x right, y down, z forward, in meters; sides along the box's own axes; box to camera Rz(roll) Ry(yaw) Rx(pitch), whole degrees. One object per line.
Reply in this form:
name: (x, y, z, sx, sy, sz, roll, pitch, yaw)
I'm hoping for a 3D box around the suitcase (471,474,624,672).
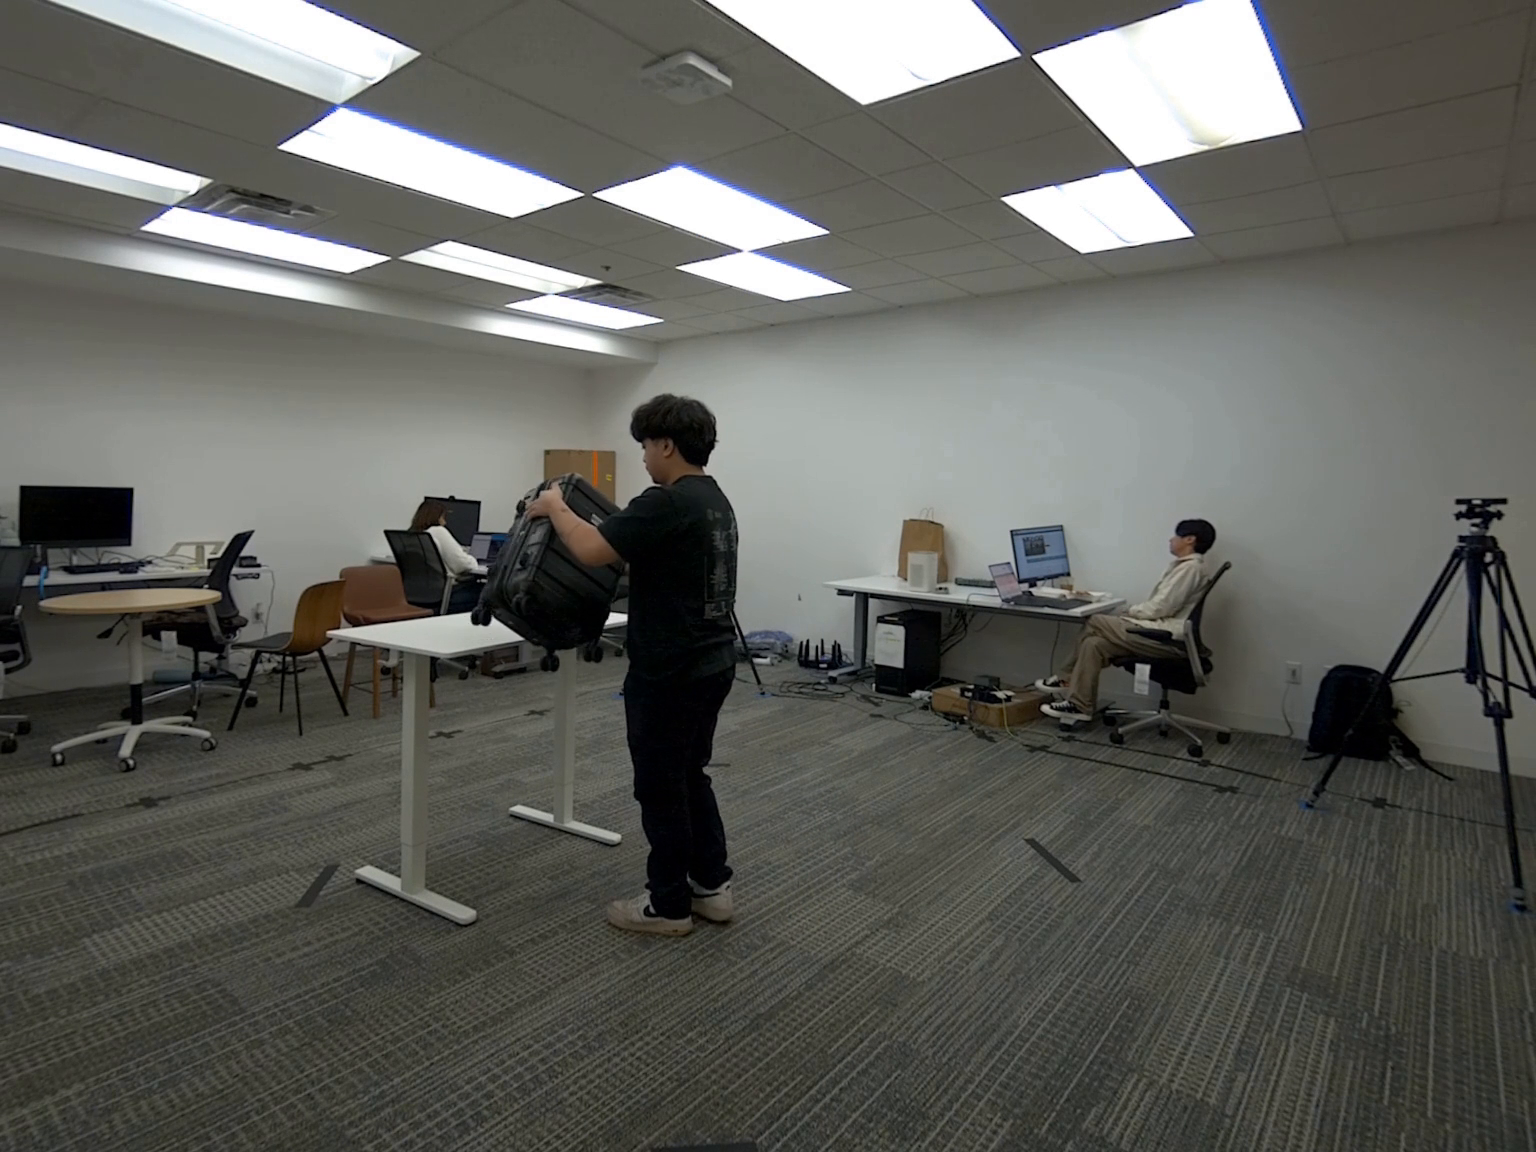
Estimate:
suitcase: (-0.677, -0.033, 2.765, 0.254, 0.560, 0.360, -15, -43, 35)
